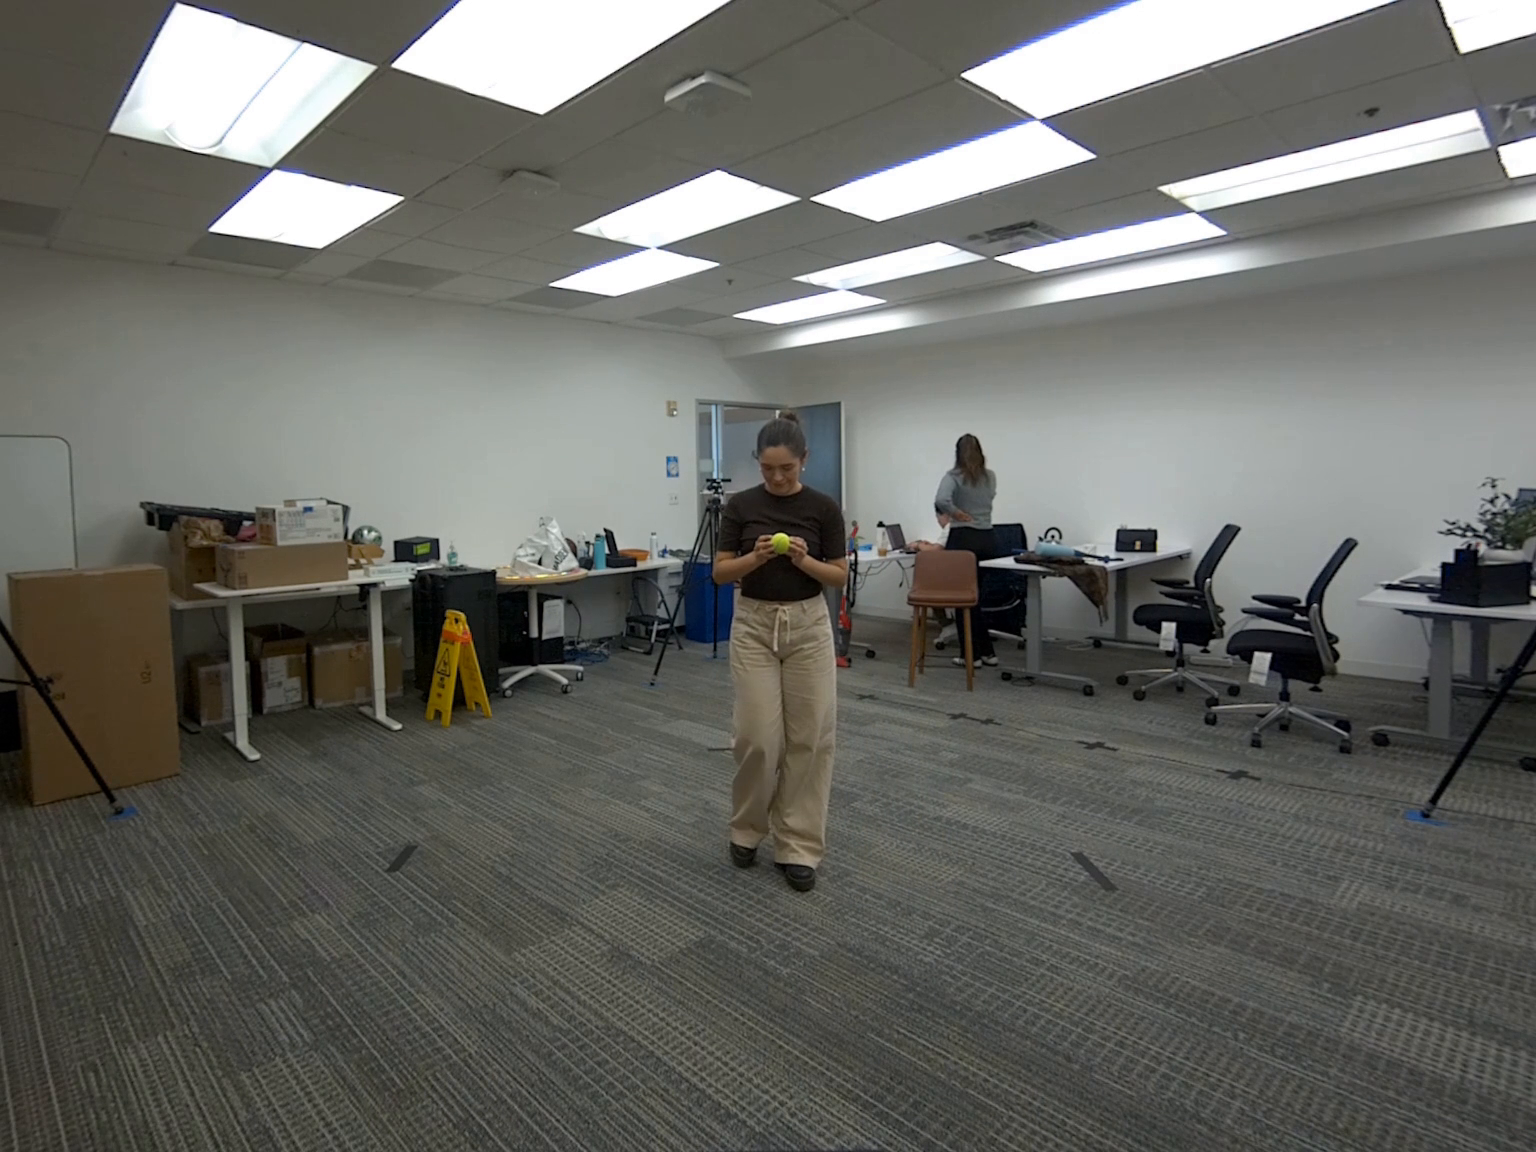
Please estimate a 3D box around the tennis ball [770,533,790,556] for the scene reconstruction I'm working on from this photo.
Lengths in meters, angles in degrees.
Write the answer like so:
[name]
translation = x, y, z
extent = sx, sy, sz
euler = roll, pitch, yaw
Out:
[tennis ball]
translation = 0.026, -0.101, 2.756
extent = 0.066, 0.066, 0.067
euler = -1, 5, -2
